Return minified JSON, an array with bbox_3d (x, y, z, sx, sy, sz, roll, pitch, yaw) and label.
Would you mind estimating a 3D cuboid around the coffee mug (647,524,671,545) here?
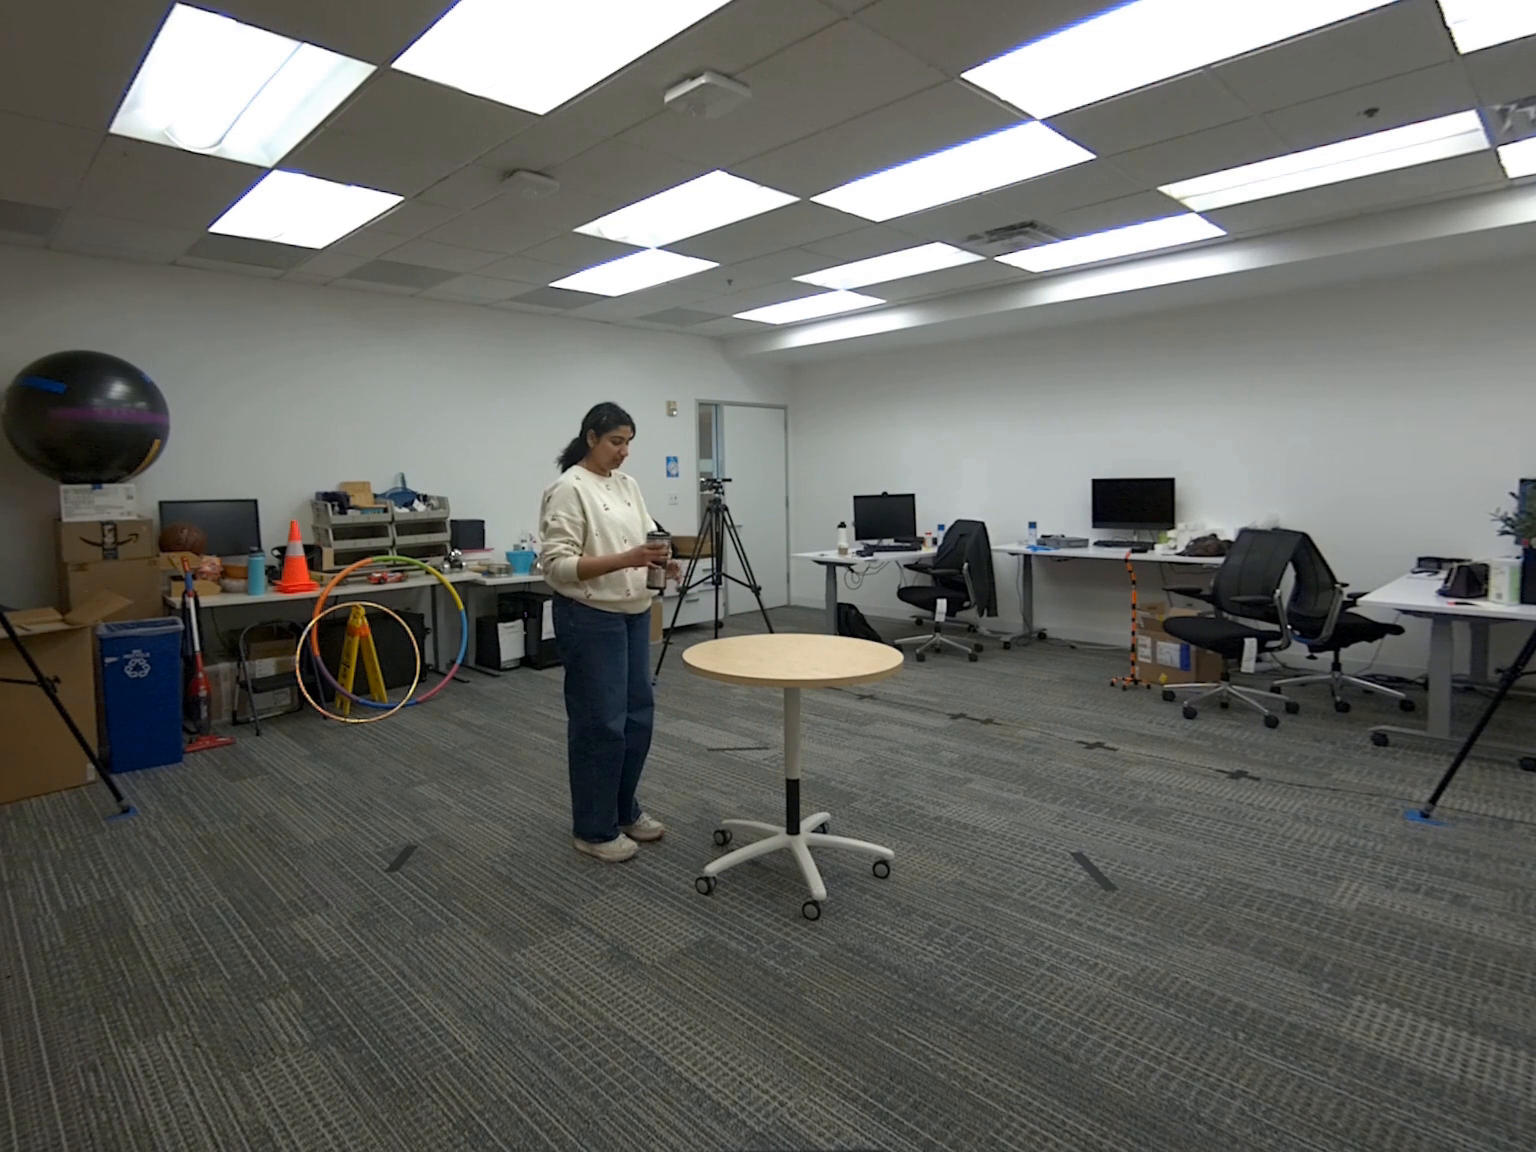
[{"bbox_3d":[-0.400,-0.054,3.044,0.087,0.201,0.124,-1,10,-12],"label":"coffee mug"}]
